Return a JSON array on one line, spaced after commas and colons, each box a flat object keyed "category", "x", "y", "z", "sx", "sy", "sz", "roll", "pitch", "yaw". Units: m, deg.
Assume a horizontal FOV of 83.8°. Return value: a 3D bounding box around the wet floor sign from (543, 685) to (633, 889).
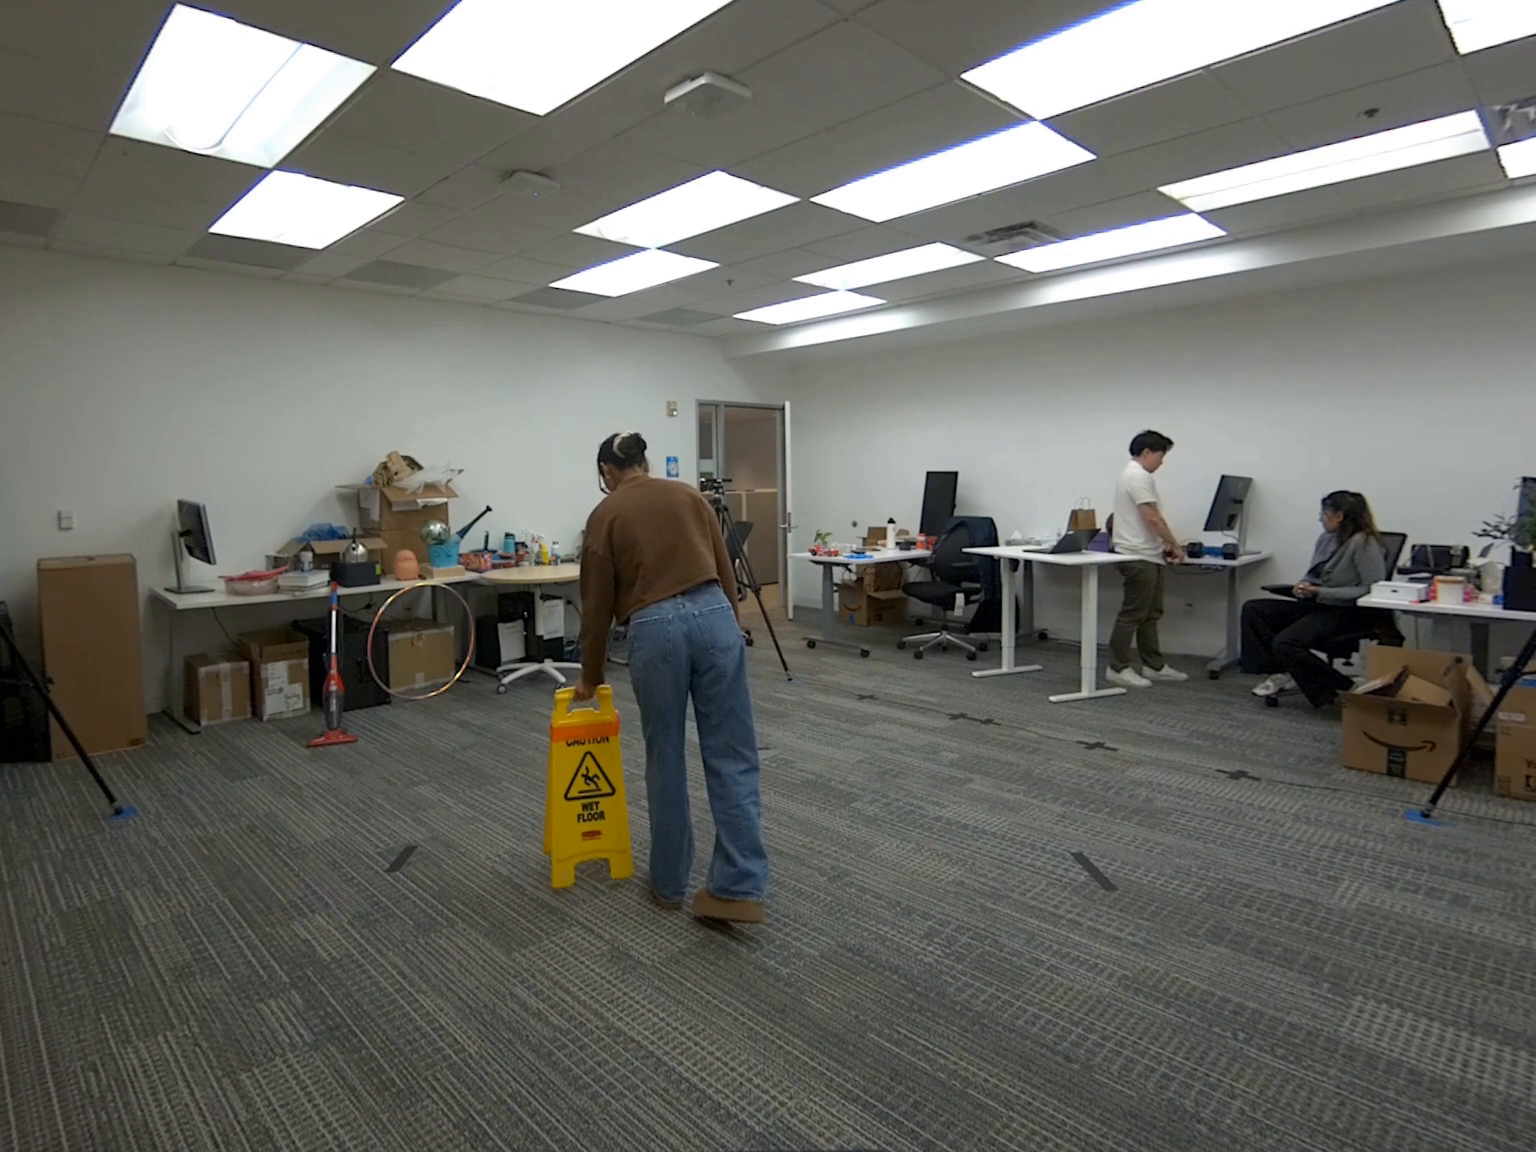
[{"category": "wet floor sign", "x": -0.640, "y": 0.710, "z": 3.017, "sx": 0.277, "sy": 0.642, "sz": 0.296, "roll": -3, "pitch": 7, "yaw": -20}]
